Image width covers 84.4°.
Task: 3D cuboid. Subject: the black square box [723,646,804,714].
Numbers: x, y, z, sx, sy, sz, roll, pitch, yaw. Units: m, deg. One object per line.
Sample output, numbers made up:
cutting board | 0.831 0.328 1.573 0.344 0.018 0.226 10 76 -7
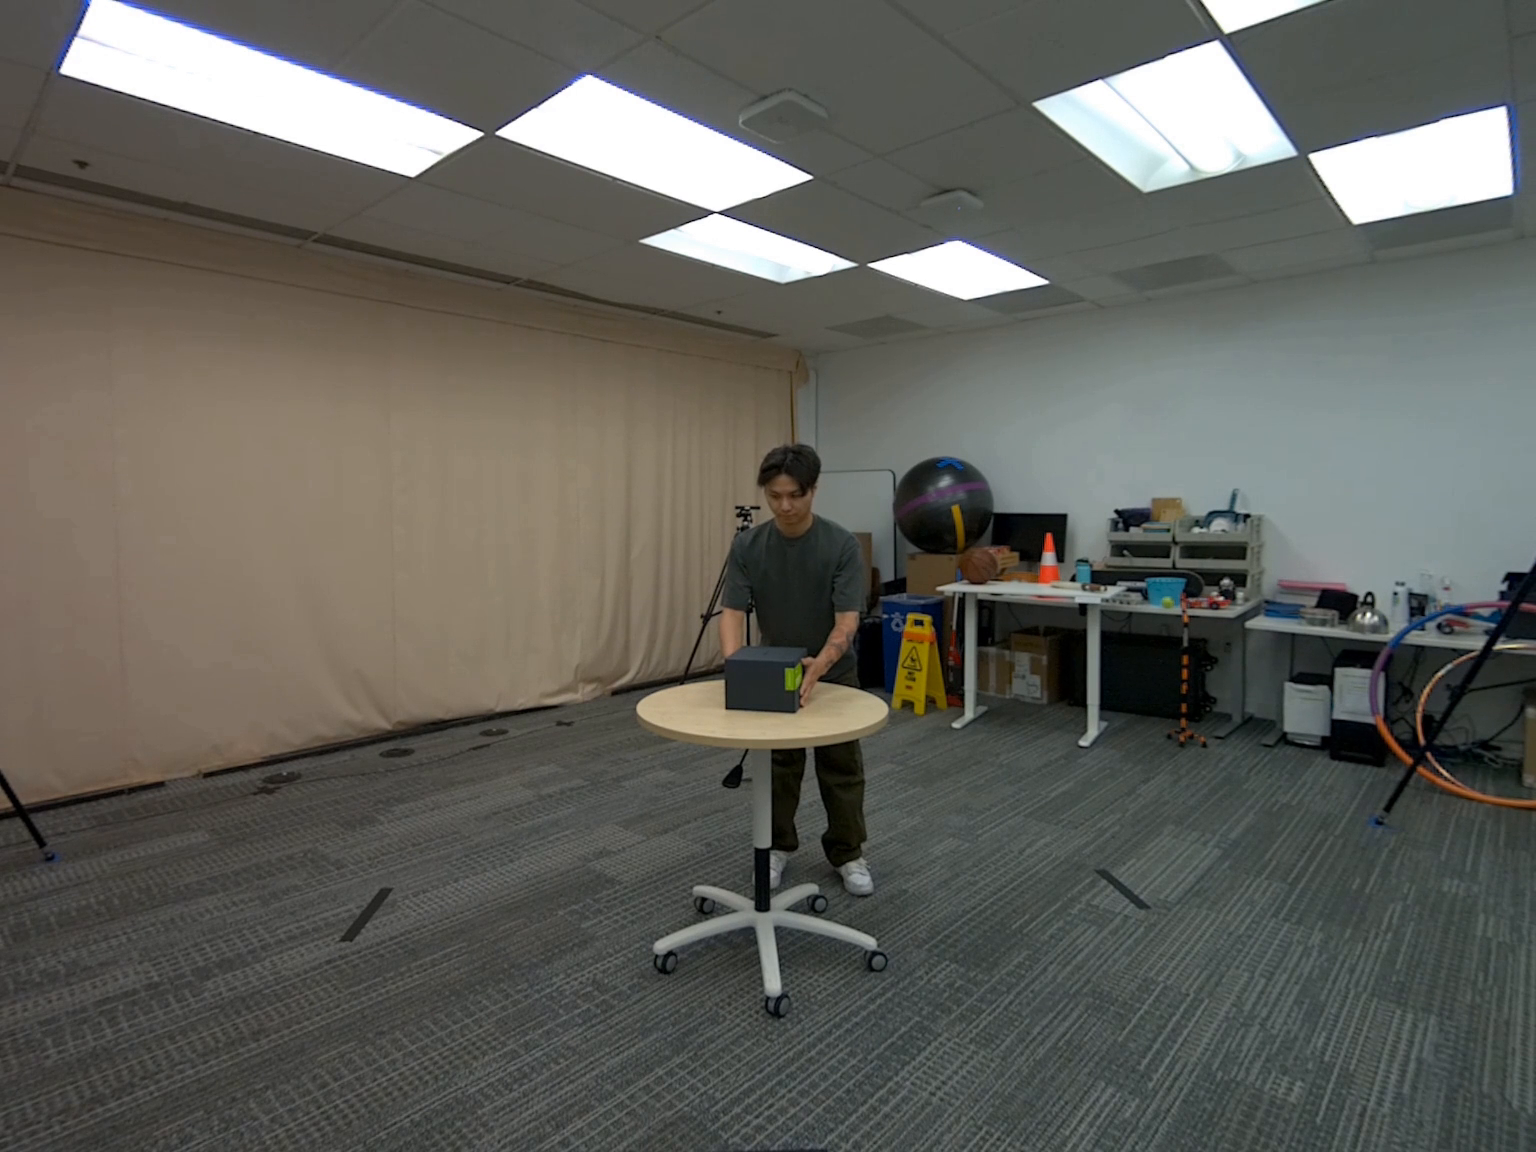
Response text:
black square box | -0.003 0.313 2.598 0.220 0.155 0.225 1 4 13
